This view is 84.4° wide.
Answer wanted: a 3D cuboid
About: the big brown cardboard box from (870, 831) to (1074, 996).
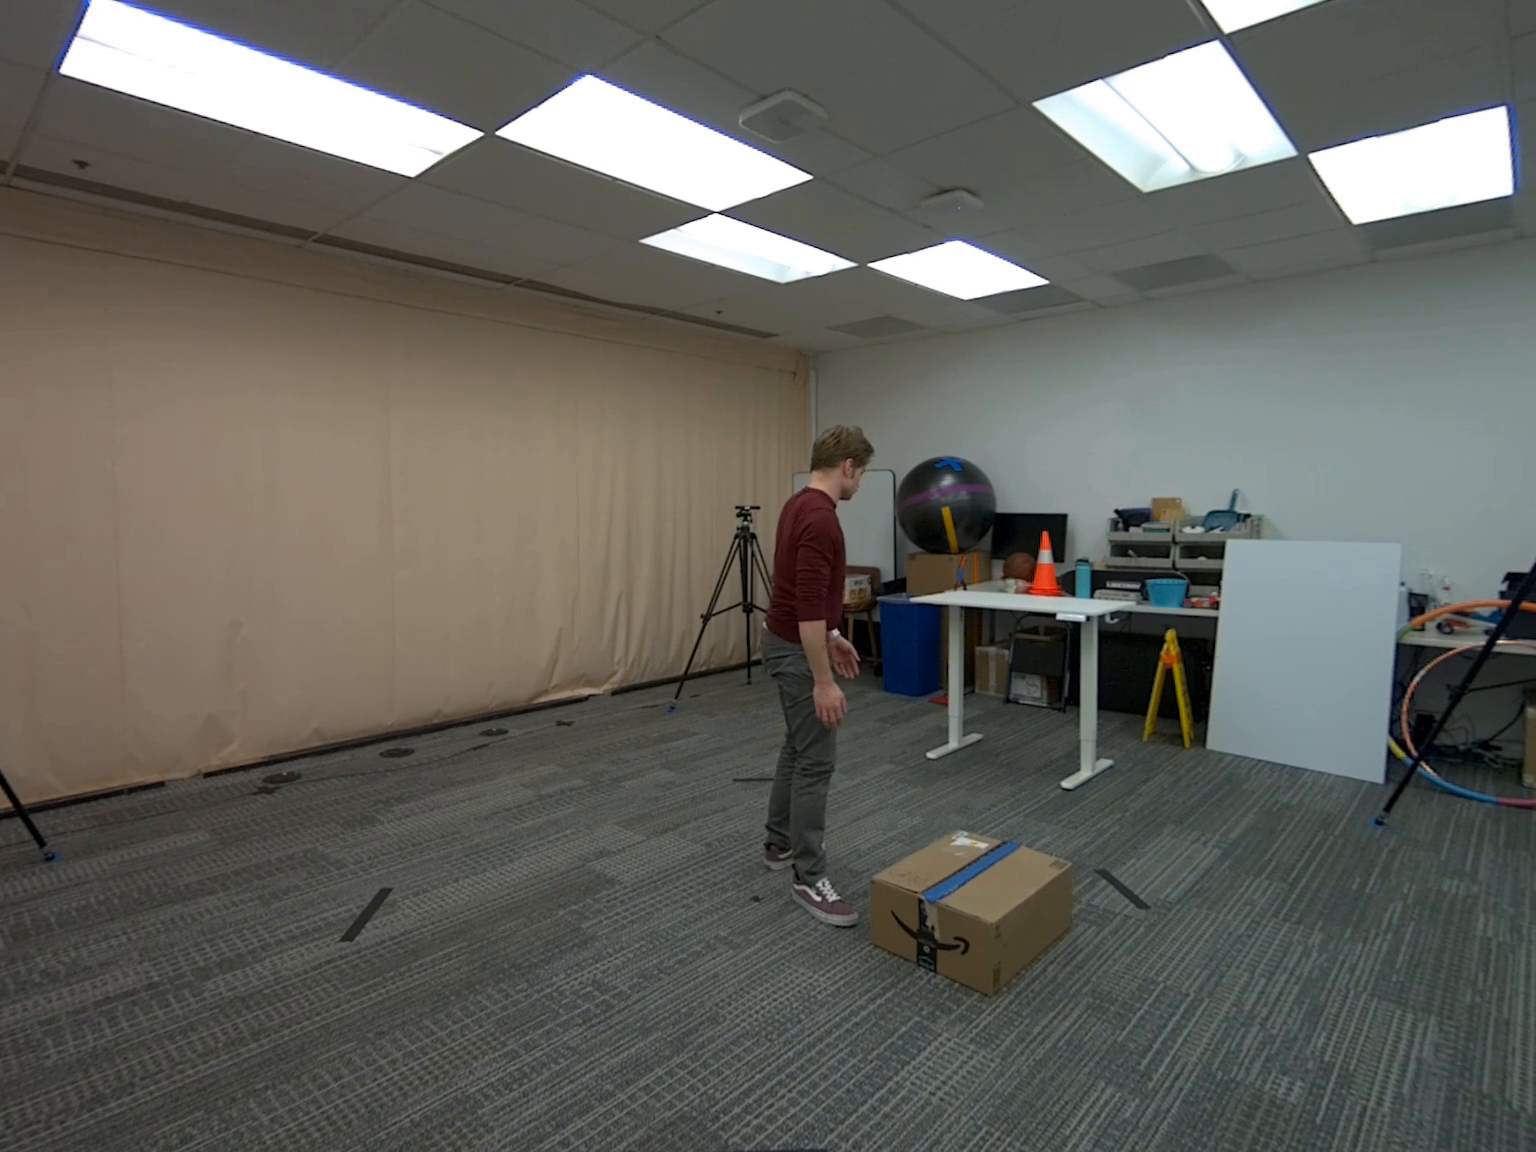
[{"bbox_3d":[0.671,1.055,2.718,0.431,0.232,0.571,4,7,43],"label":"big brown cardboard box"}]
